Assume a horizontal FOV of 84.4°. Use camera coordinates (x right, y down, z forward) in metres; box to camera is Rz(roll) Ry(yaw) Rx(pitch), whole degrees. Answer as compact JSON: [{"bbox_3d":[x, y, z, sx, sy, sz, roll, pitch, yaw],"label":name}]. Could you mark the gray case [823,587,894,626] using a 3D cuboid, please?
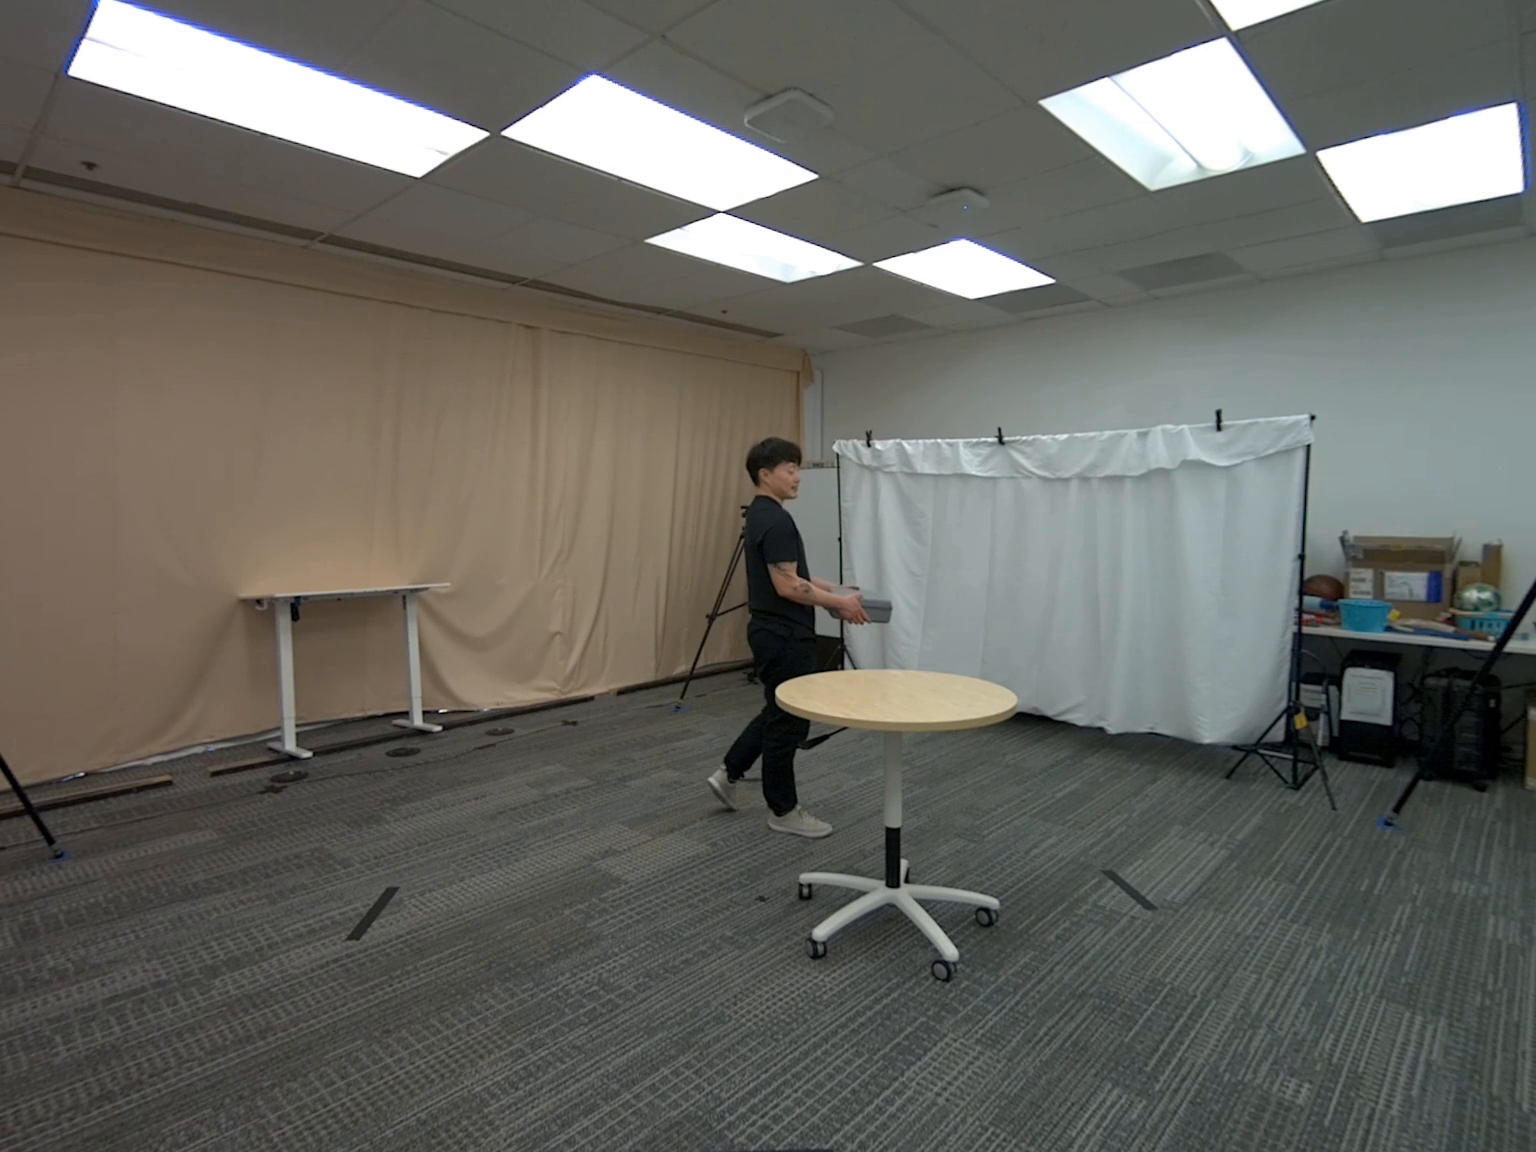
[{"bbox_3d":[0.373,0.120,3.552,0.262,0.104,0.257,4,7,3],"label":"gray case"}]
